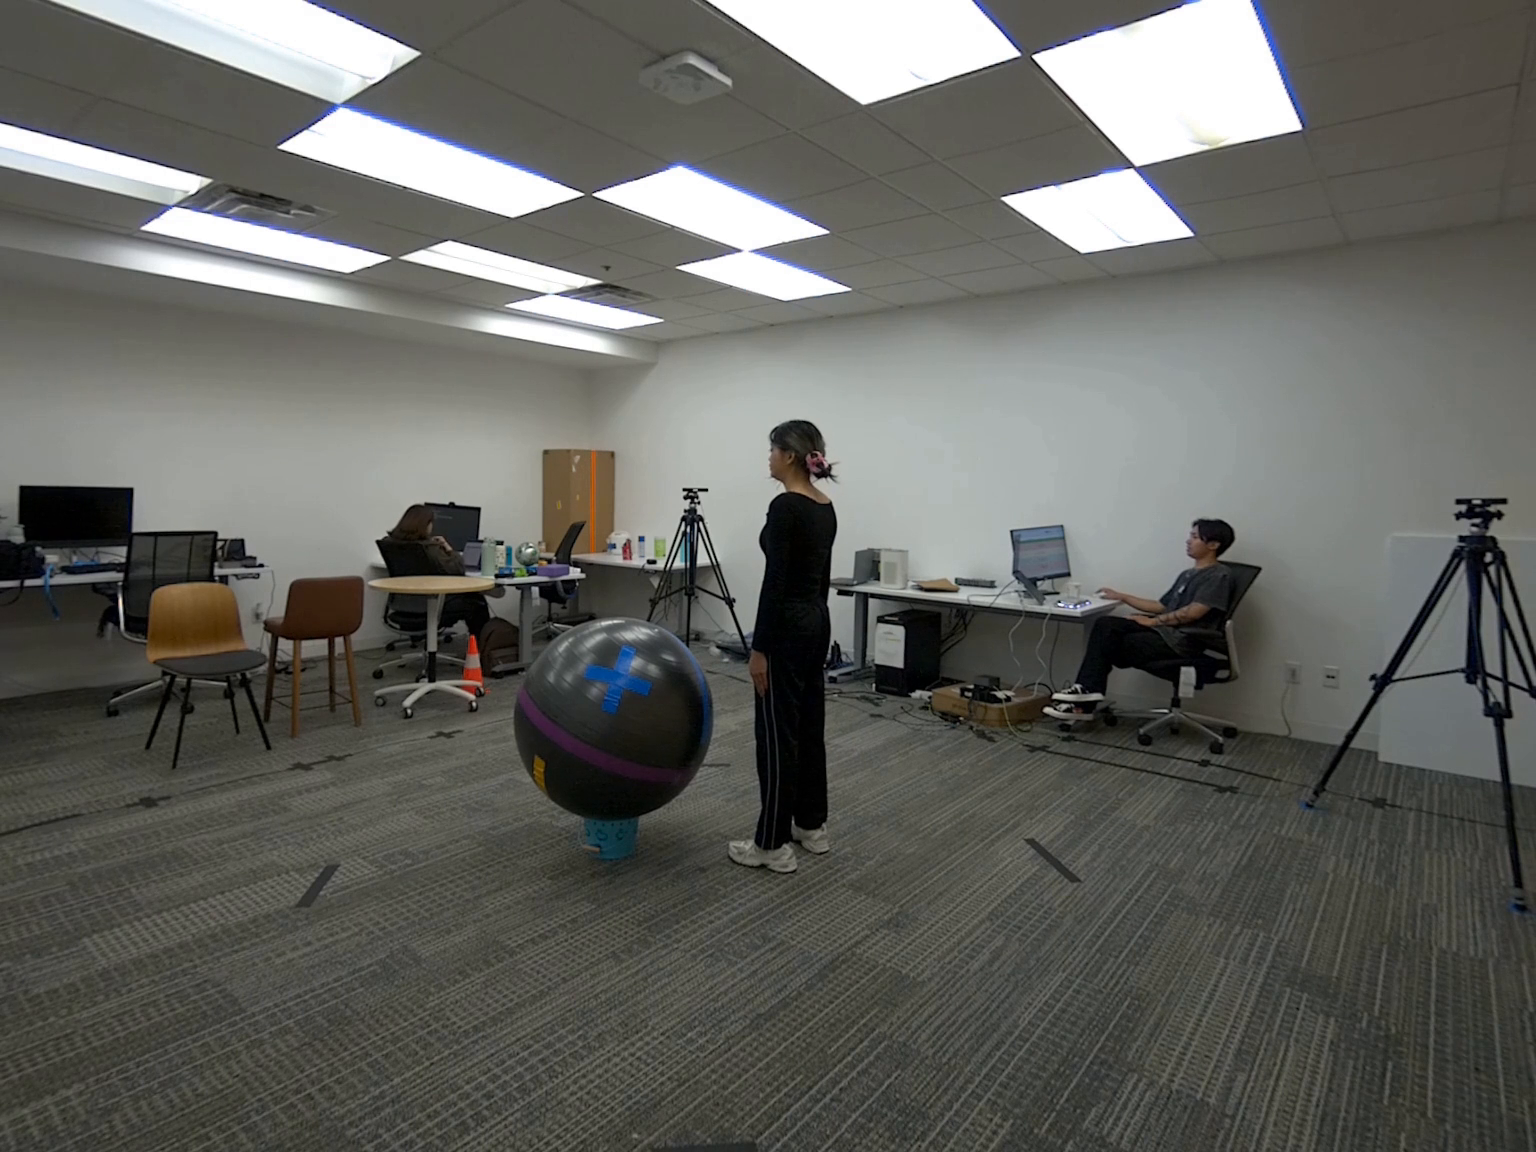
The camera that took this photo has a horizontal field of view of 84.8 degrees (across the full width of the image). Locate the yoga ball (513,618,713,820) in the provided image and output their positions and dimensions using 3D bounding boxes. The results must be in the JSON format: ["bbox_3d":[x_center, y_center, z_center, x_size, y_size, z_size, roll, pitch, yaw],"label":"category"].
[{"bbox_3d":[-0.603,0.537,3.256,0.757,0.755,0.762,1,4,-2],"label":"yoga ball"}]
